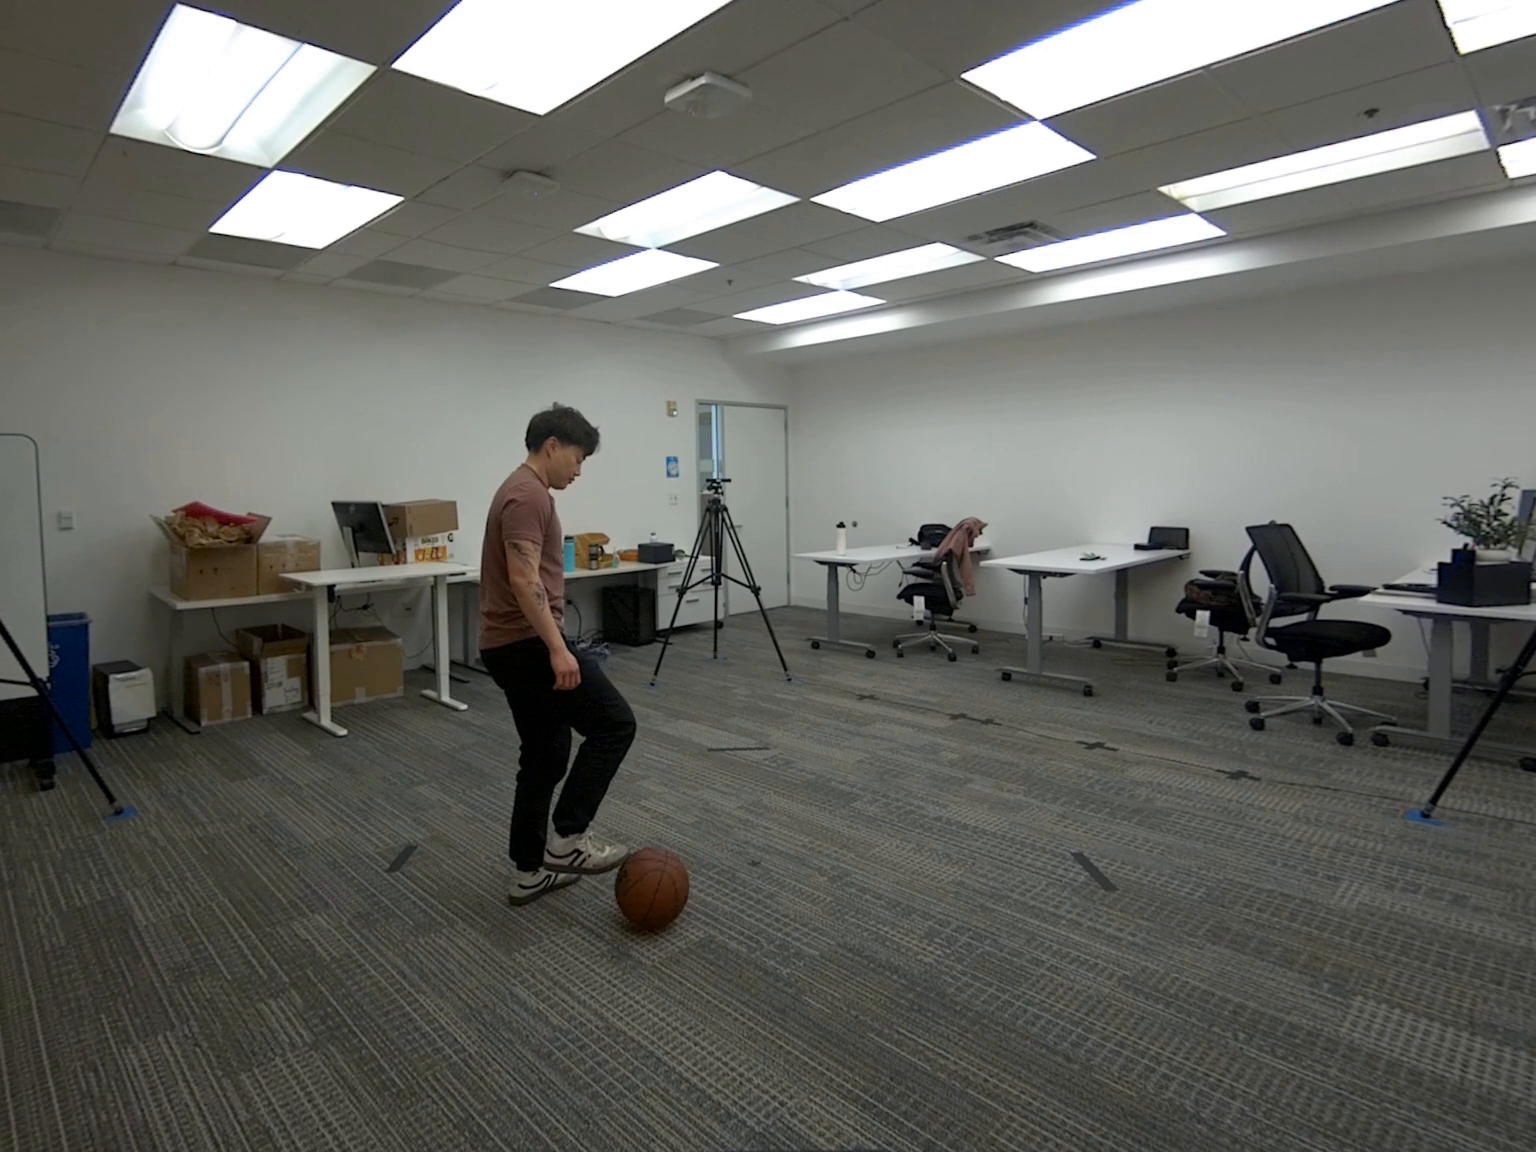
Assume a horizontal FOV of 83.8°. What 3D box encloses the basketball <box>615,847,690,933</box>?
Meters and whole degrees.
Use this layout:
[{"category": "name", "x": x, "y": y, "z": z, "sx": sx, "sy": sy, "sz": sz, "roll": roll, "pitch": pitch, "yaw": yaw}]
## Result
[{"category": "basketball", "x": -0.353, "y": 0.978, "z": 2.690, "sx": 0.236, "sy": 0.235, "sz": 0.237, "roll": -1, "pitch": 5, "yaw": -2}]
